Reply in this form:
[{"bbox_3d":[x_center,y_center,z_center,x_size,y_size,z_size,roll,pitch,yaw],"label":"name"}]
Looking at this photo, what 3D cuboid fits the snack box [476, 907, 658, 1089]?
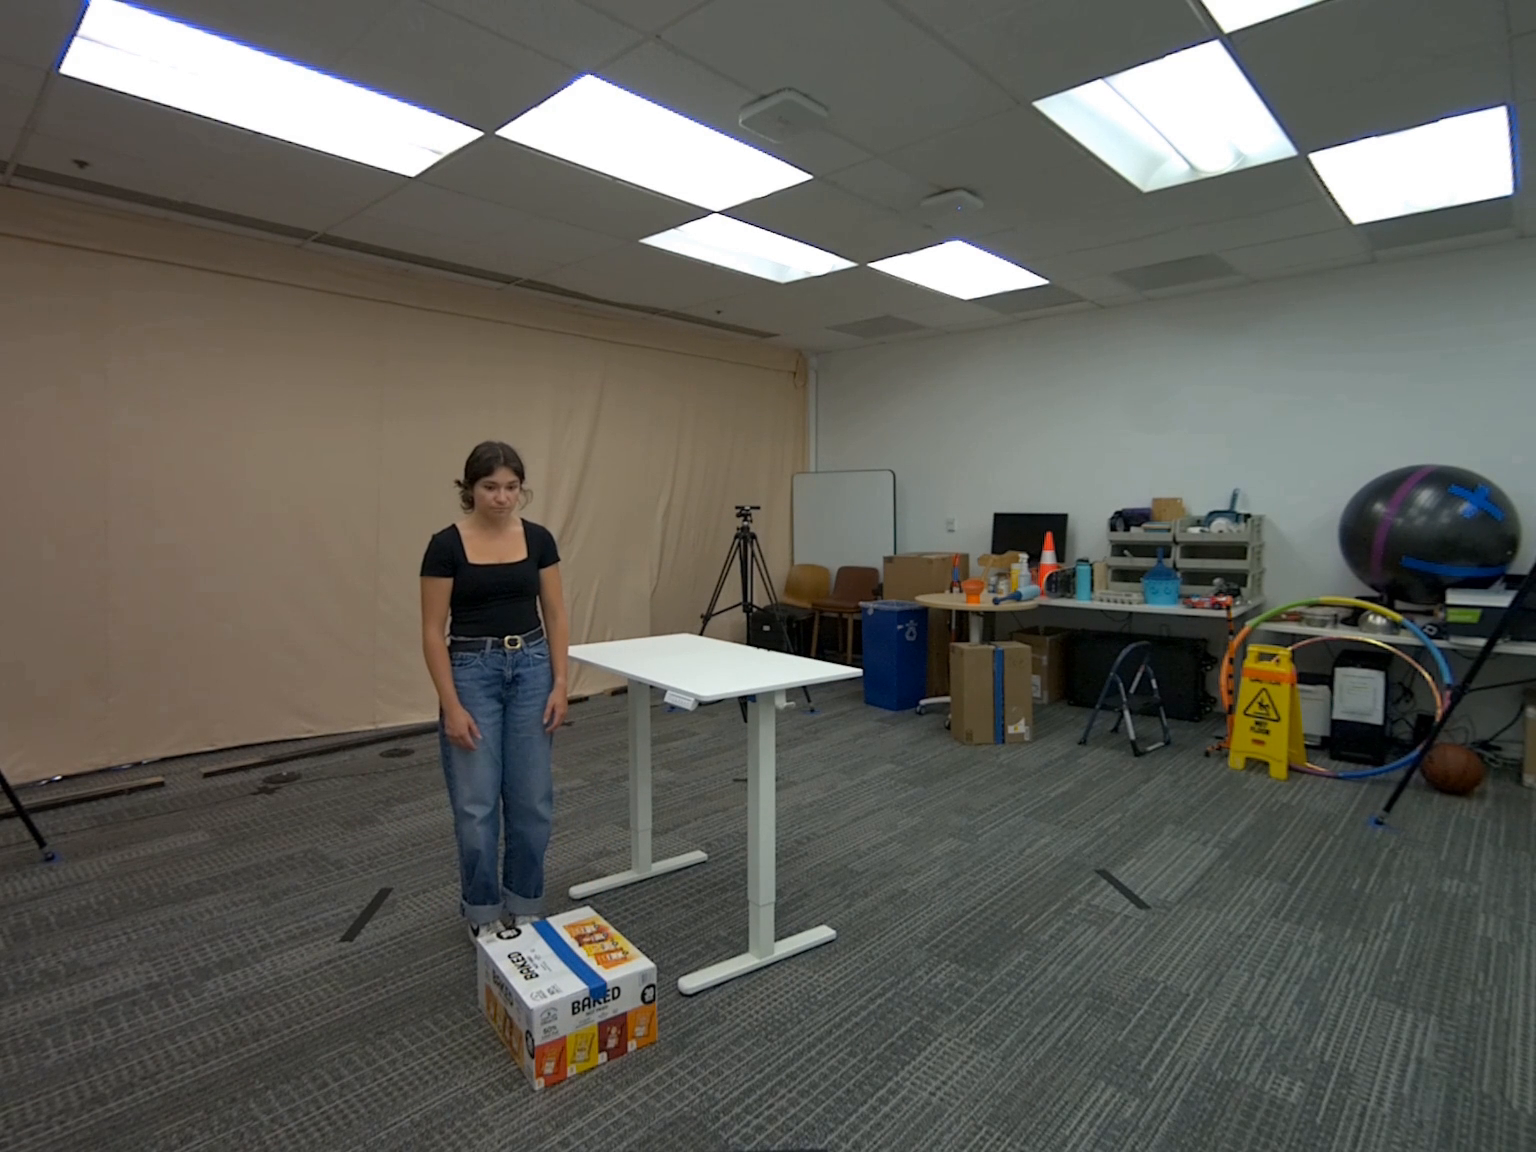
[{"bbox_3d":[-0.545,1.110,2.247,0.330,0.205,0.418,-3,5,-36],"label":"snack box"}]
